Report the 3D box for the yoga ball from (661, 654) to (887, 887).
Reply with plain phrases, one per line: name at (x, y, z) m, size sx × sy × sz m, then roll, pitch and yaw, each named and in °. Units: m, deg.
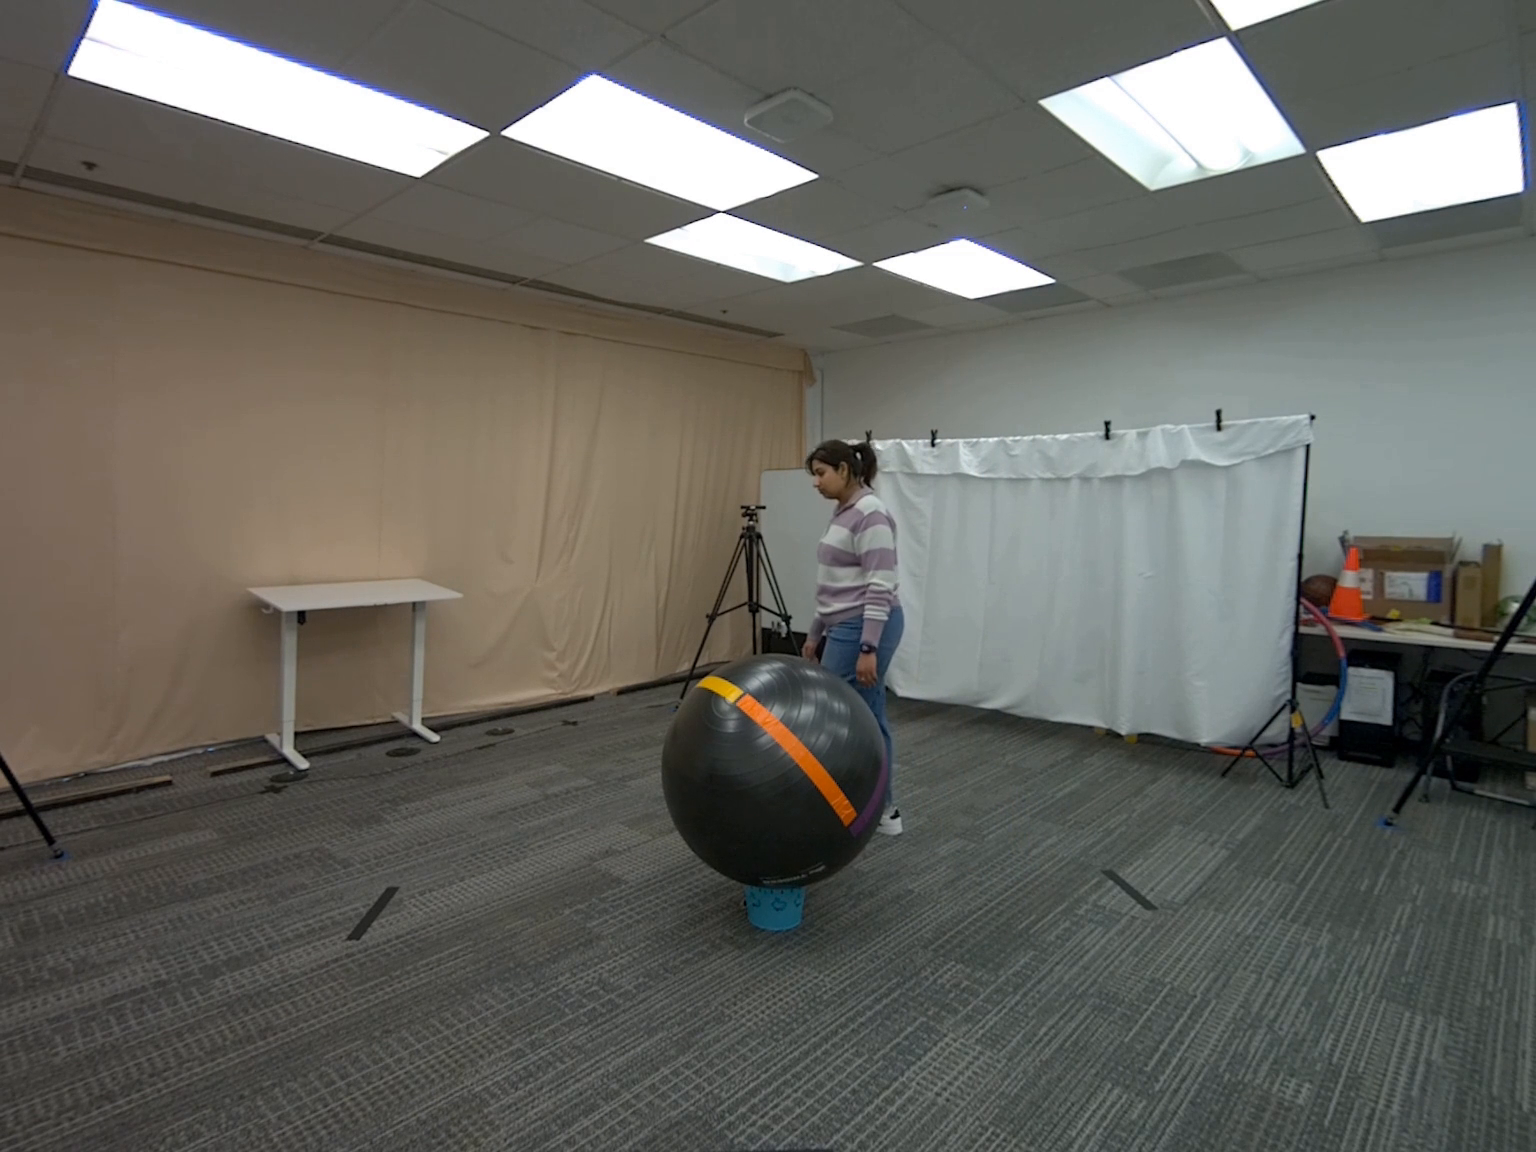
yoga ball at (0.022, 0.645, 2.826) m, size 0.757 × 0.756 × 0.760 m, roll 0°, pitch 4°, yaw -2°
